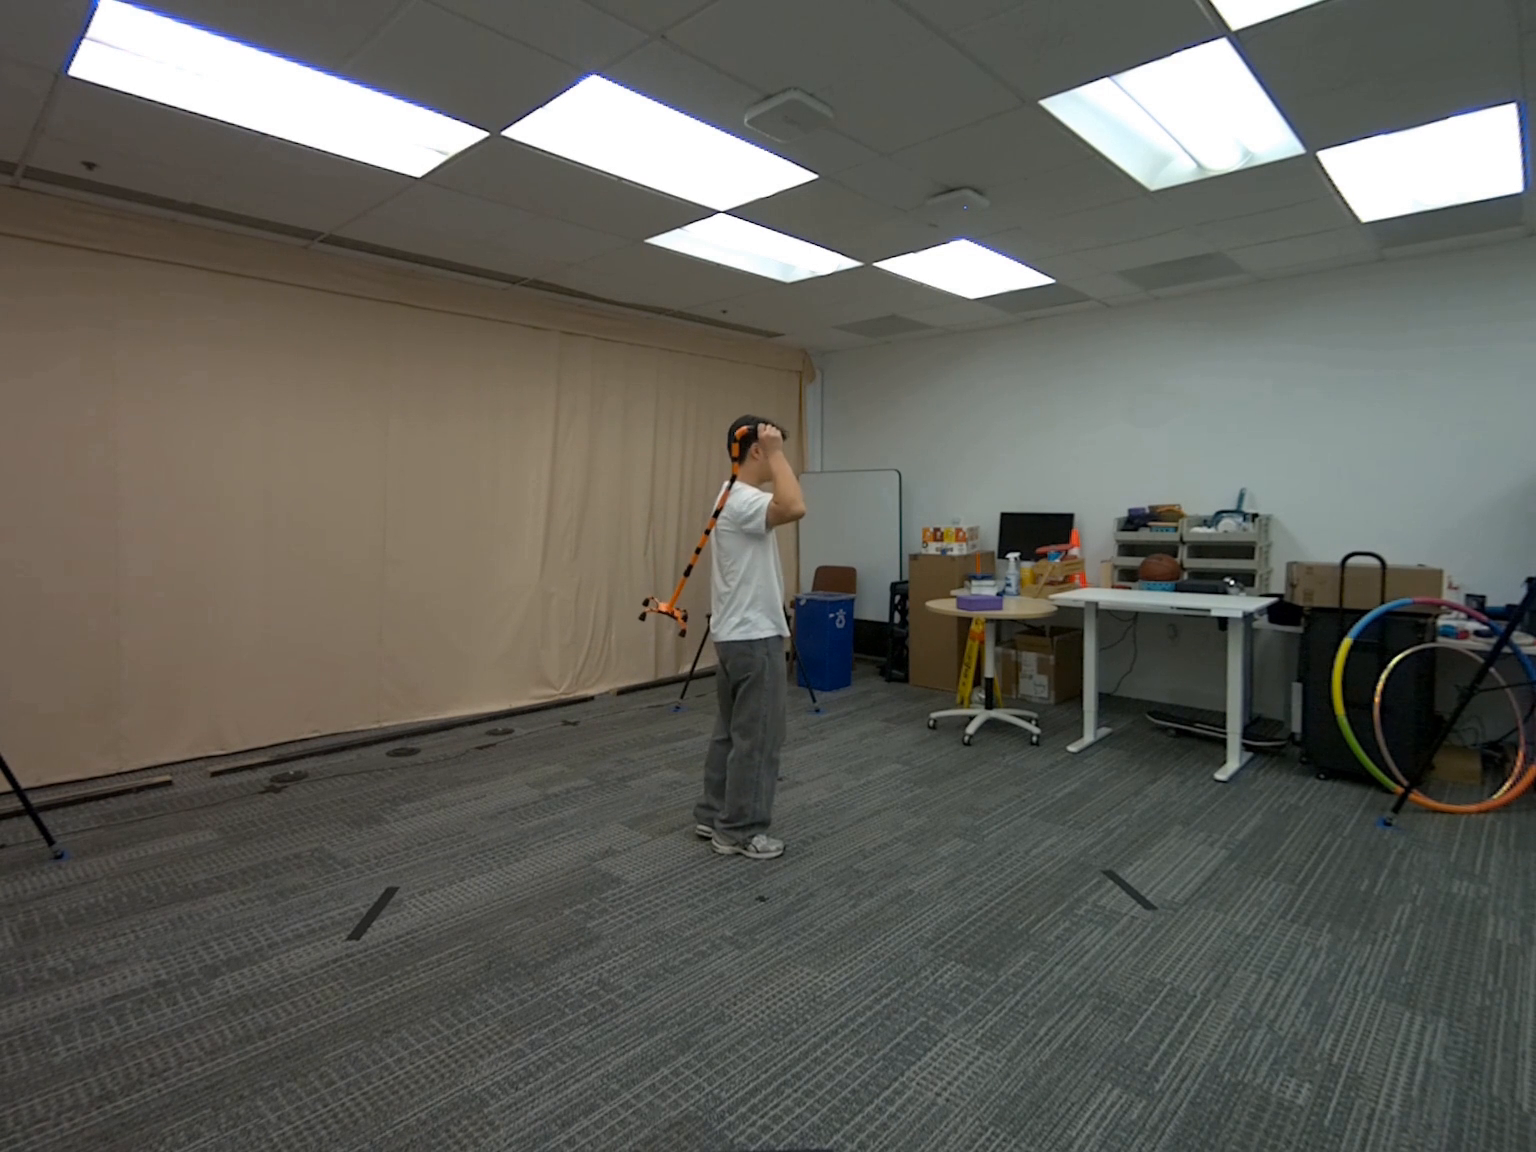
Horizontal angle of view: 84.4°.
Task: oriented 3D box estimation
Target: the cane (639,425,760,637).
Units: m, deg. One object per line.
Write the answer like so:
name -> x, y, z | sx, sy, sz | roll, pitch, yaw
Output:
cane -> -0.227, -0.177, 3.274 | 0.202, 0.906, 0.155 | 20, 20, -18
